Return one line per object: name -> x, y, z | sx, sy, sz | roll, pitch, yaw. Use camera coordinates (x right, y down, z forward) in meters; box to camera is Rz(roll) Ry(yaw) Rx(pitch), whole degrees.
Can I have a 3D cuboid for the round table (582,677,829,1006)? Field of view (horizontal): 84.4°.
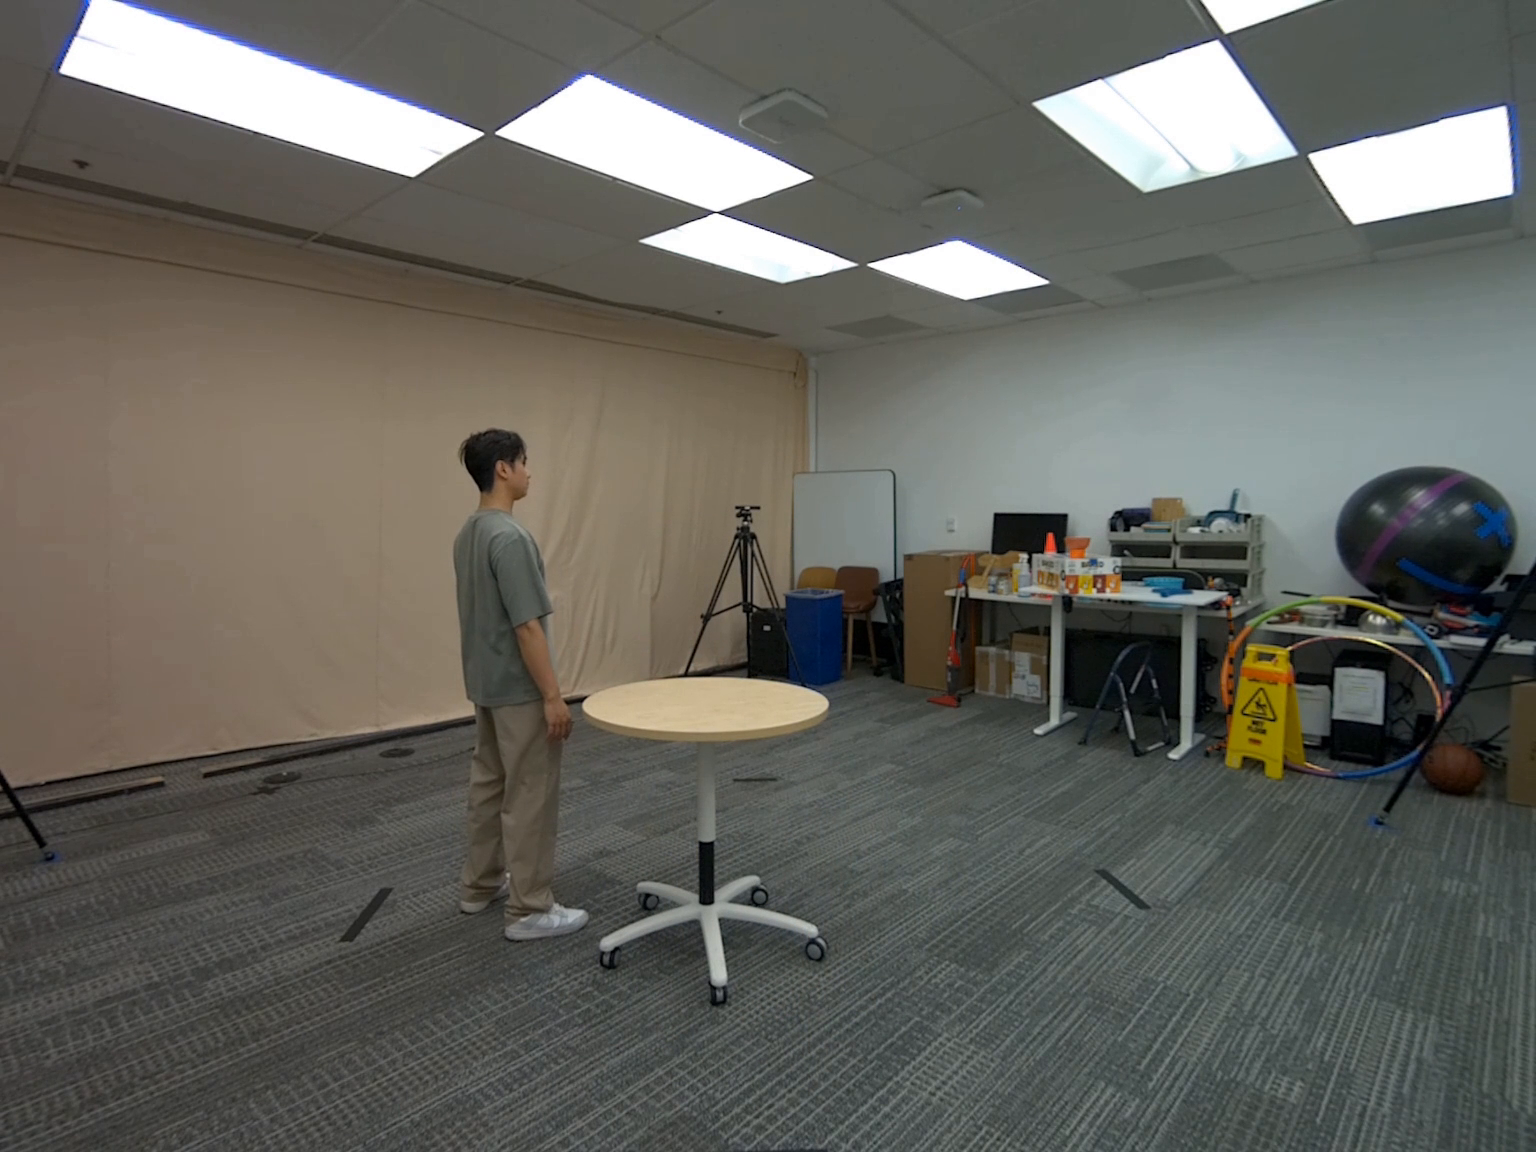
round table -> -0.188, 0.789, 2.642 | 0.763, 0.792, 0.766 | 0, 4, -2
